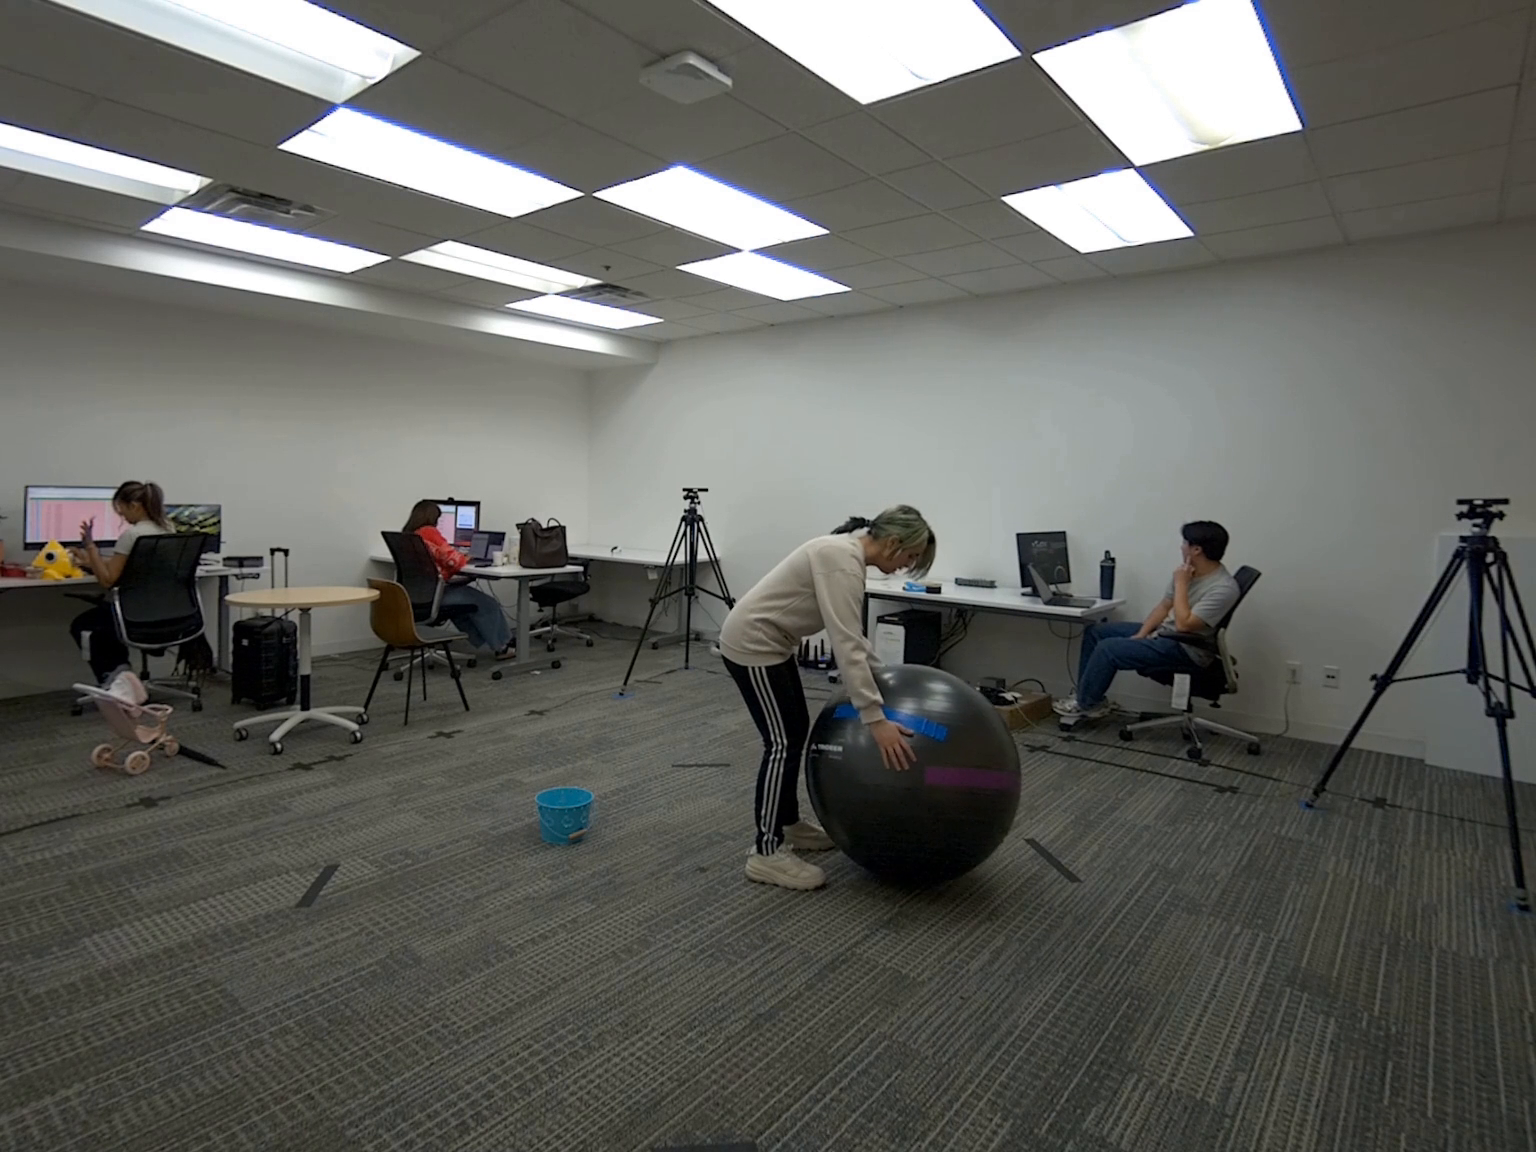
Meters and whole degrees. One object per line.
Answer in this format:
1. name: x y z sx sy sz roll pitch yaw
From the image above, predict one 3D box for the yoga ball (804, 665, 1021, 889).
1. yoga ball: 0.515 0.692 3.074 0.757 0.755 0.762 1 4 -2
